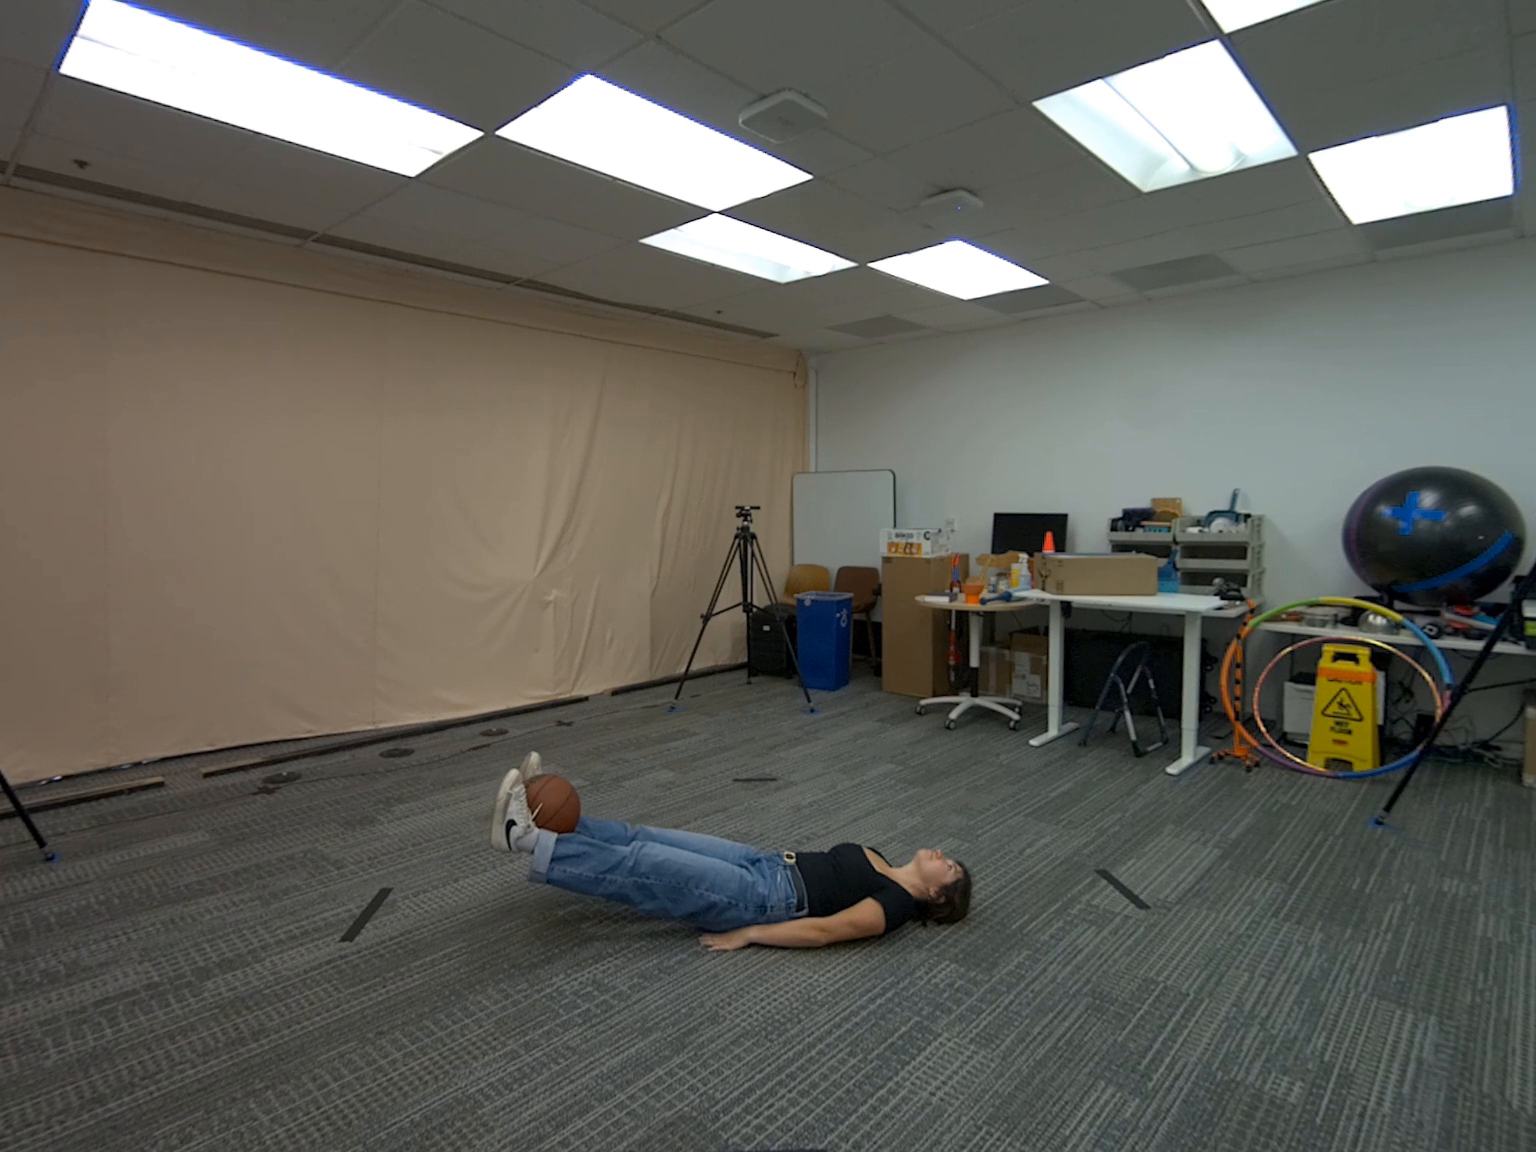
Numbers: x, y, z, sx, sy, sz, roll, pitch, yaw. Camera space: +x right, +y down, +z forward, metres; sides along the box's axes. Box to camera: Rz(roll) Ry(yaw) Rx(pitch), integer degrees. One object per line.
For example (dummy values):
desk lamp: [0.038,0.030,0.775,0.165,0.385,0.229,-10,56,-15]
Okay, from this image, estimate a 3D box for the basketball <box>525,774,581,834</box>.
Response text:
basketball: [-0.741,0.780,2.801,0.236,0.235,0.237,0,4,-2]
